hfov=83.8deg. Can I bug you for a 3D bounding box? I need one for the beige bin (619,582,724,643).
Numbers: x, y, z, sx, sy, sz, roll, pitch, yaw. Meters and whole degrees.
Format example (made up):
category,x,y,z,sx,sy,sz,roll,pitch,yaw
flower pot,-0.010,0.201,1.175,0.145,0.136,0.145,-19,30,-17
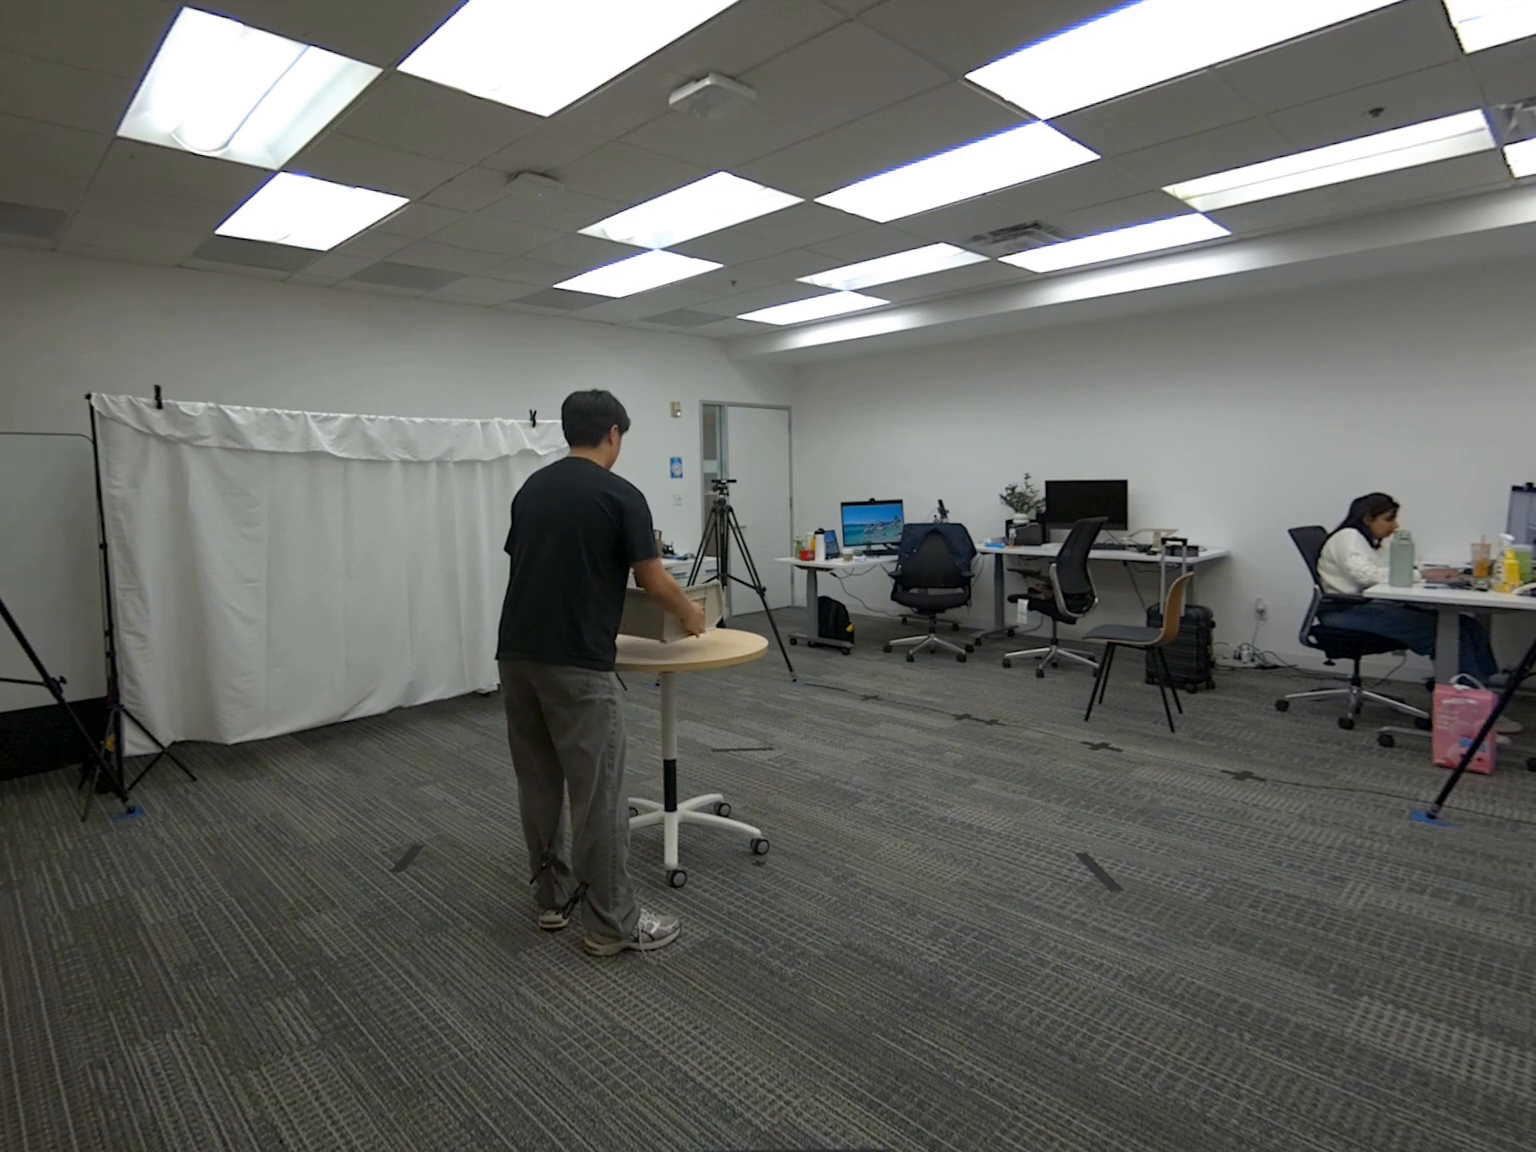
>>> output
category,x,y,z,sx,sy,sz,roll,pitch,yaw
beige bin,-0.430,0.104,3.124,0.434,0.188,0.369,5,10,30
